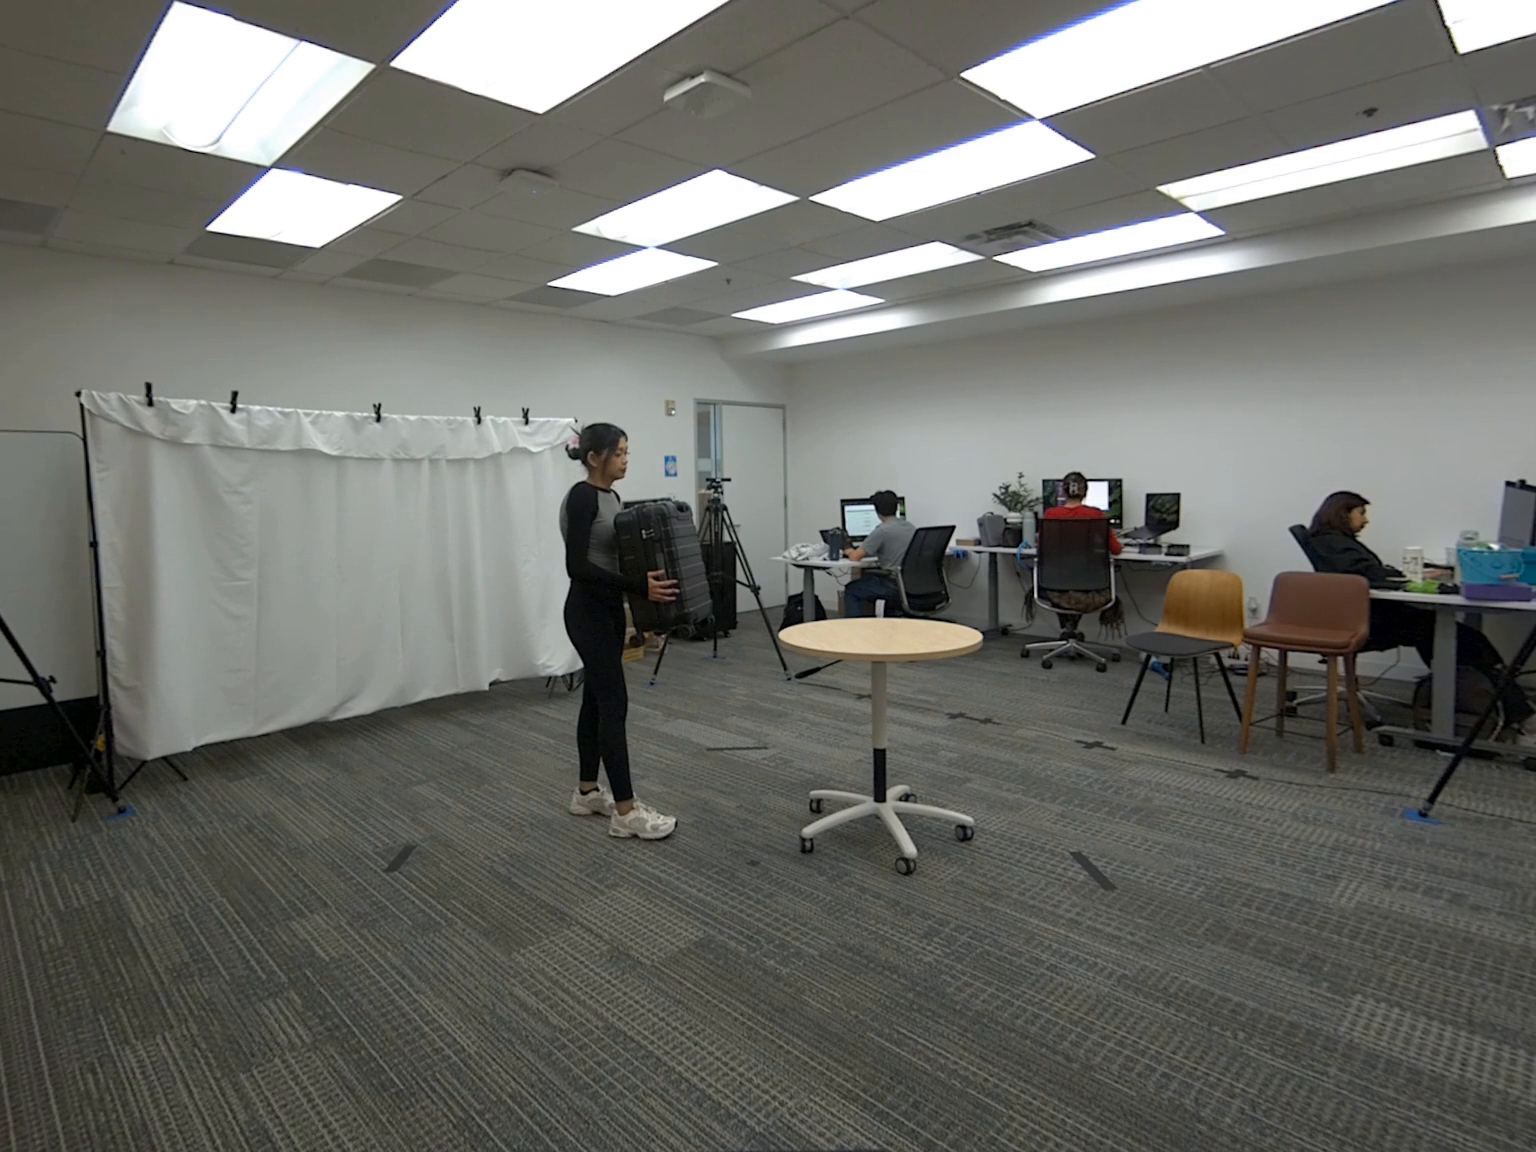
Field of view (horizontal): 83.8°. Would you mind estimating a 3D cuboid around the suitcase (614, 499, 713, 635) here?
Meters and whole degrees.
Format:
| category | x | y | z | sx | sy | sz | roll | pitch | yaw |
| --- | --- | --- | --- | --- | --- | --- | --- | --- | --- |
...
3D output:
| category | x | y | z | sx | sy | sz | roll | pitch | yaw |
| --- | --- | --- | --- | --- | --- | --- | --- | --- | --- |
| suitcase | -0.417 | -0.033 | 3.431 | 0.251 | 0.549 | 0.372 | -10 | 2 | 12 |
